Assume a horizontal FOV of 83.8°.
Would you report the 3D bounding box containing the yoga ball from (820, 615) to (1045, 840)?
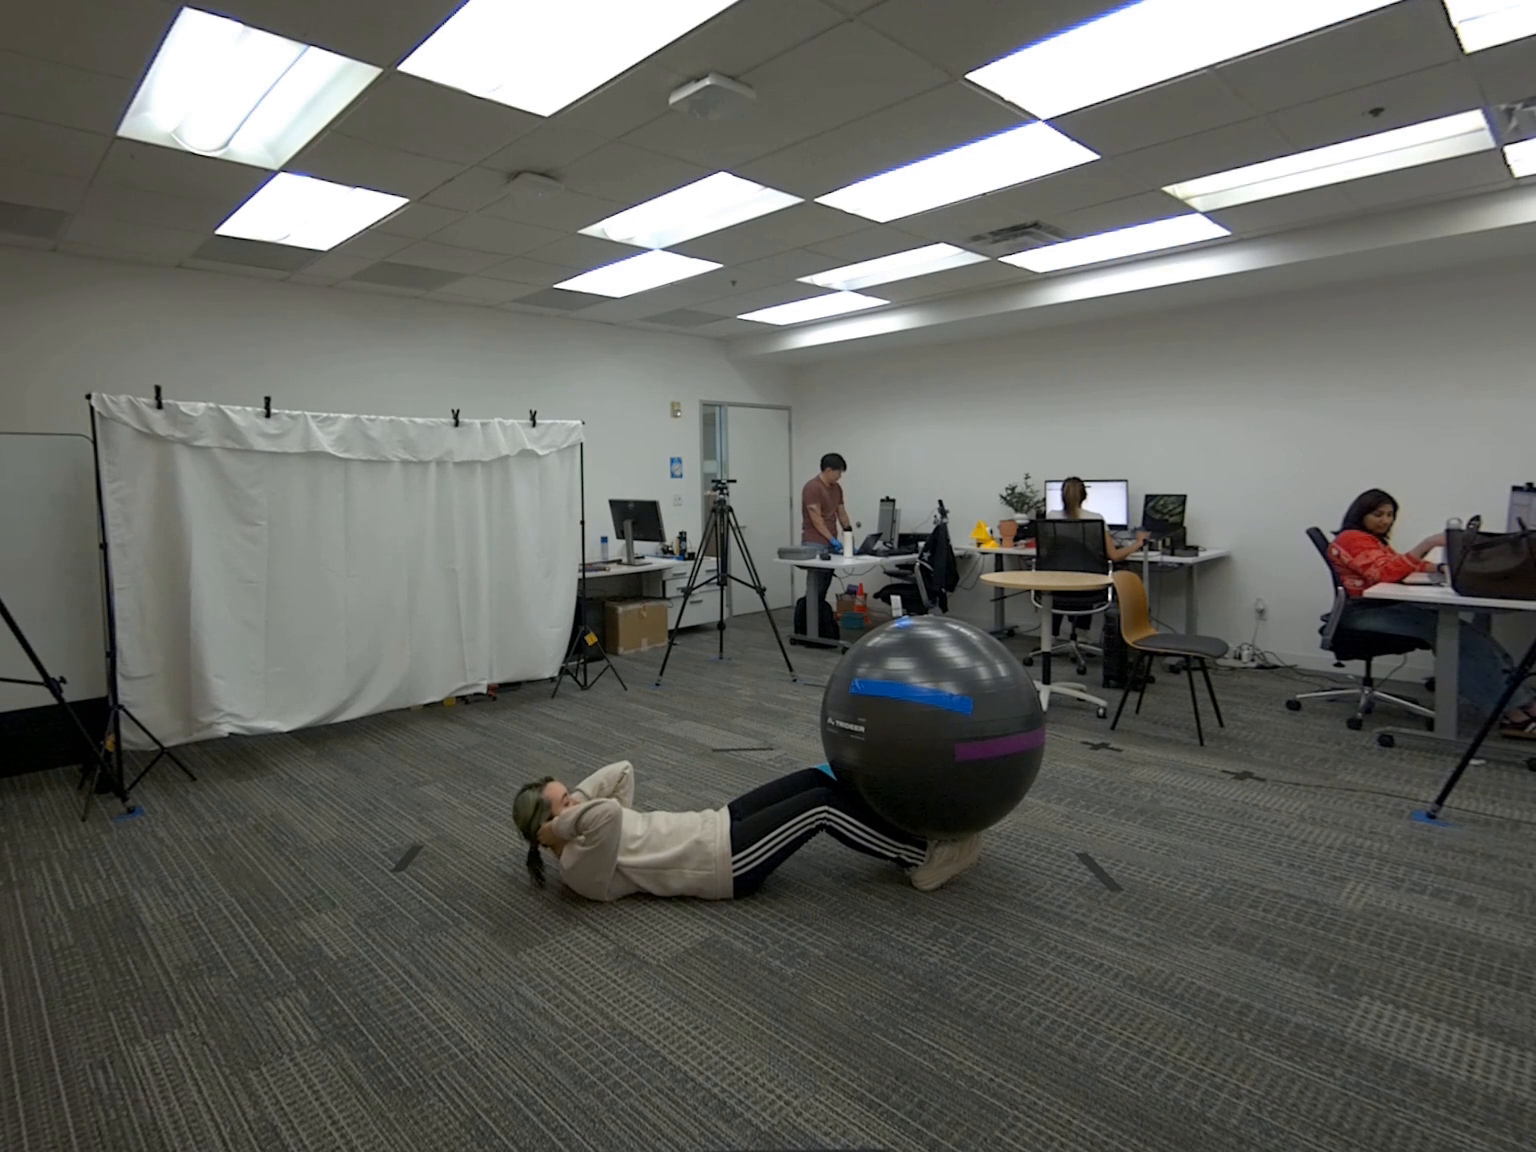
[{"bbox_3d":[0.575,0.523,2.990,0.757,0.755,0.762,-1,5,-2],"label":"yoga ball"}]
